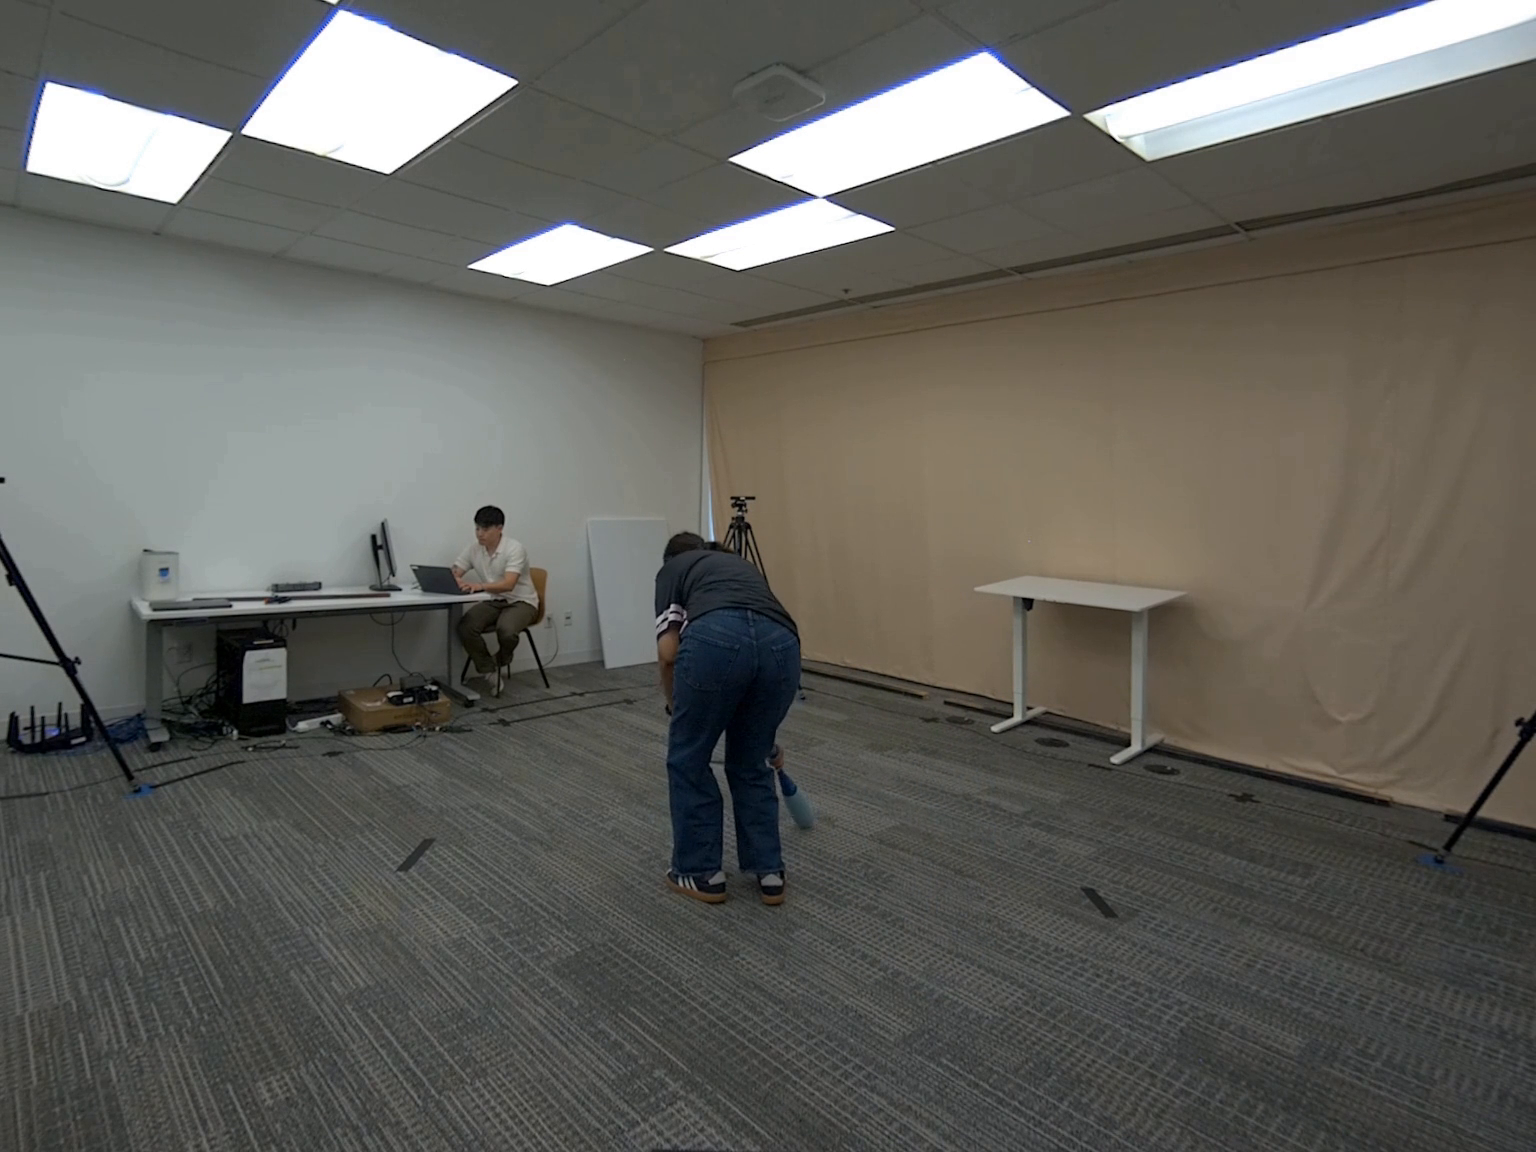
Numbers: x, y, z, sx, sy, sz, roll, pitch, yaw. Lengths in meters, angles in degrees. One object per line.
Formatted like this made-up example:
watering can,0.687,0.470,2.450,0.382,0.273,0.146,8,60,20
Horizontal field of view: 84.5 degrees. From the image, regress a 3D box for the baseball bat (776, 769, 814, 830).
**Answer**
baseball bat,0.068,0.863,3.423,0.090,0.527,0.091,-13,43,11
